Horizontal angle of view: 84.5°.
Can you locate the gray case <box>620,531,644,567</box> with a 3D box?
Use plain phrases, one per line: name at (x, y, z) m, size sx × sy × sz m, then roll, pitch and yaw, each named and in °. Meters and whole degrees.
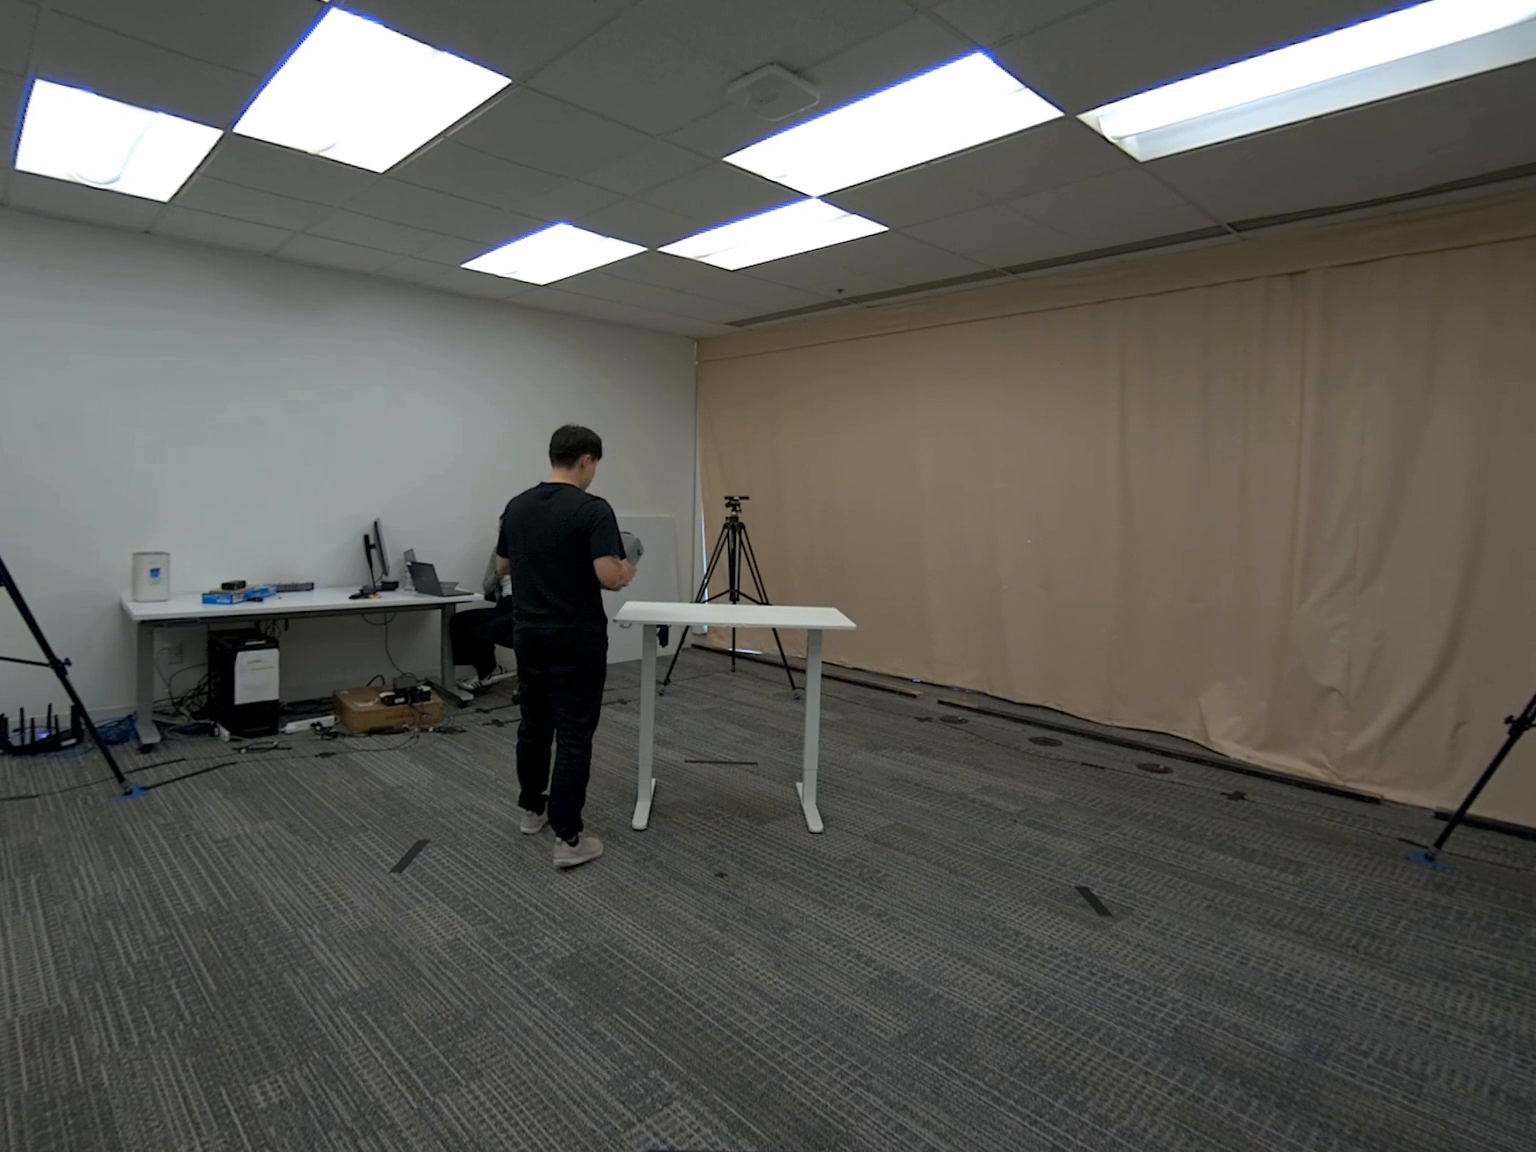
gray case at (-0.679, -0.068, 3.544) m, size 0.263 × 0.262 × 0.101 m, roll 9°, pitch -37°, yaw 28°
